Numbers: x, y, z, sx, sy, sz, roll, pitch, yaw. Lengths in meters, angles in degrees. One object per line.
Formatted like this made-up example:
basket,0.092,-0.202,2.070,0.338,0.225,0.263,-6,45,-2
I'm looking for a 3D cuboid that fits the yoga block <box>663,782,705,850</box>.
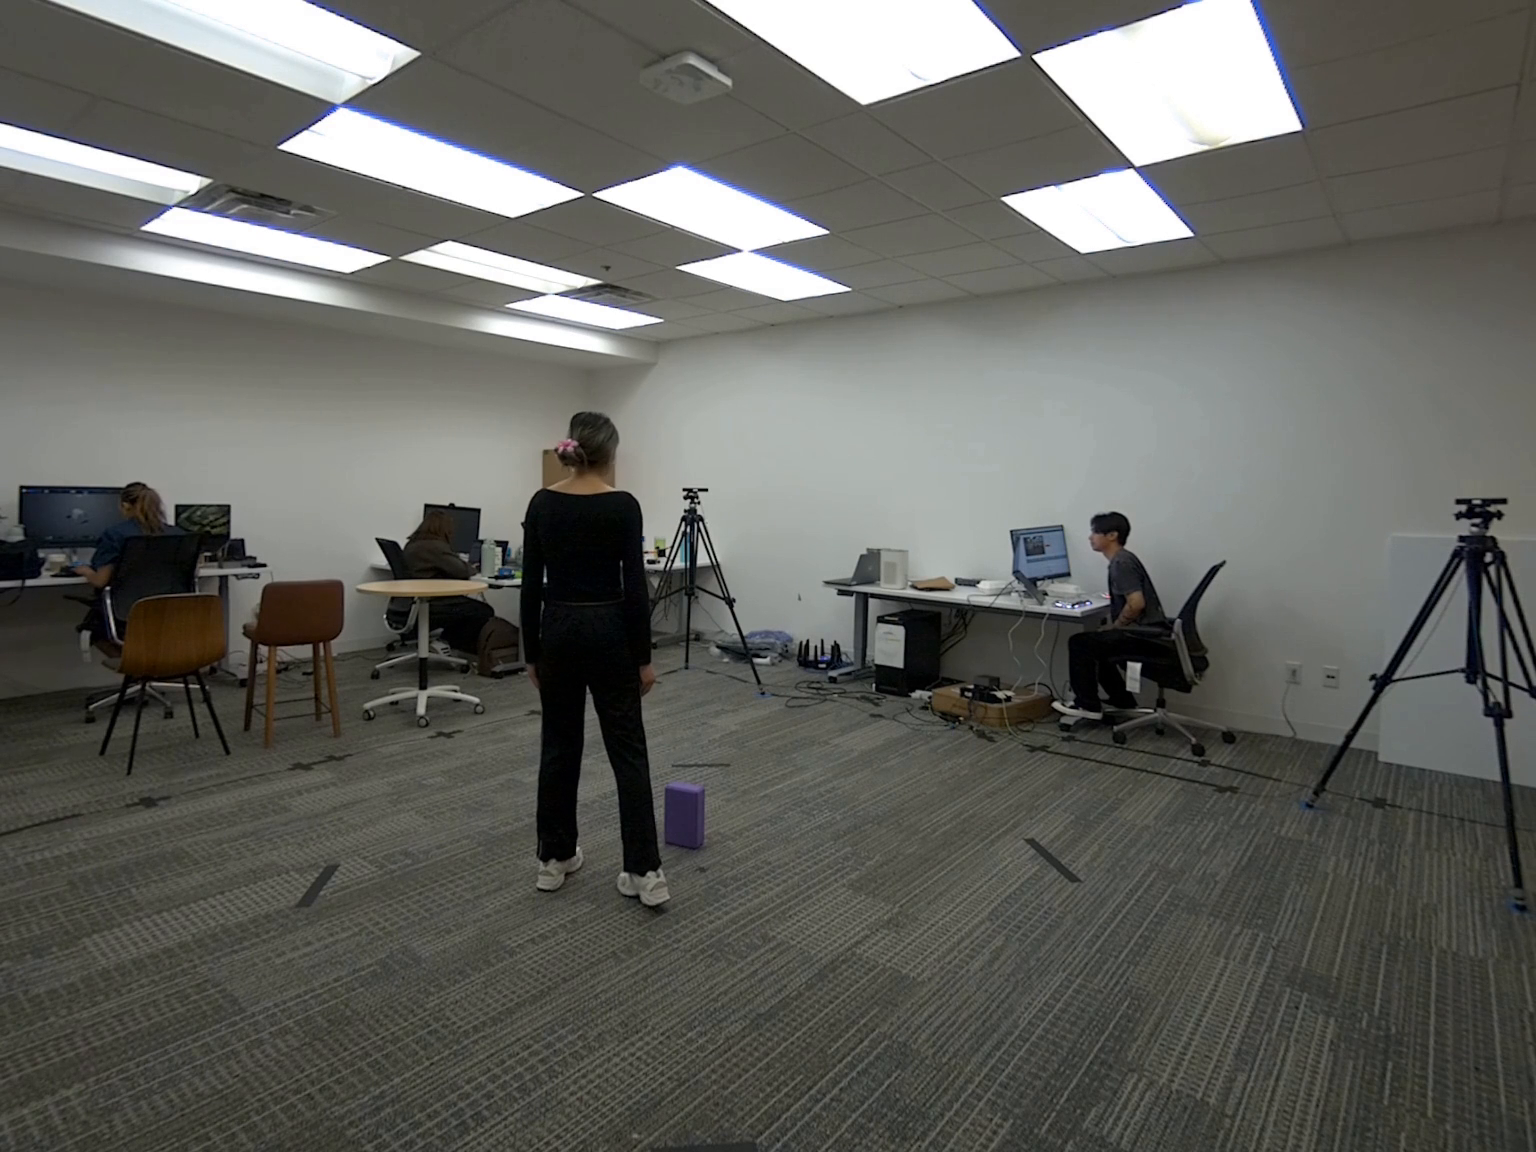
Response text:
yoga block,-0.338,0.931,3.332,0.153,0.229,0.074,2,2,25
